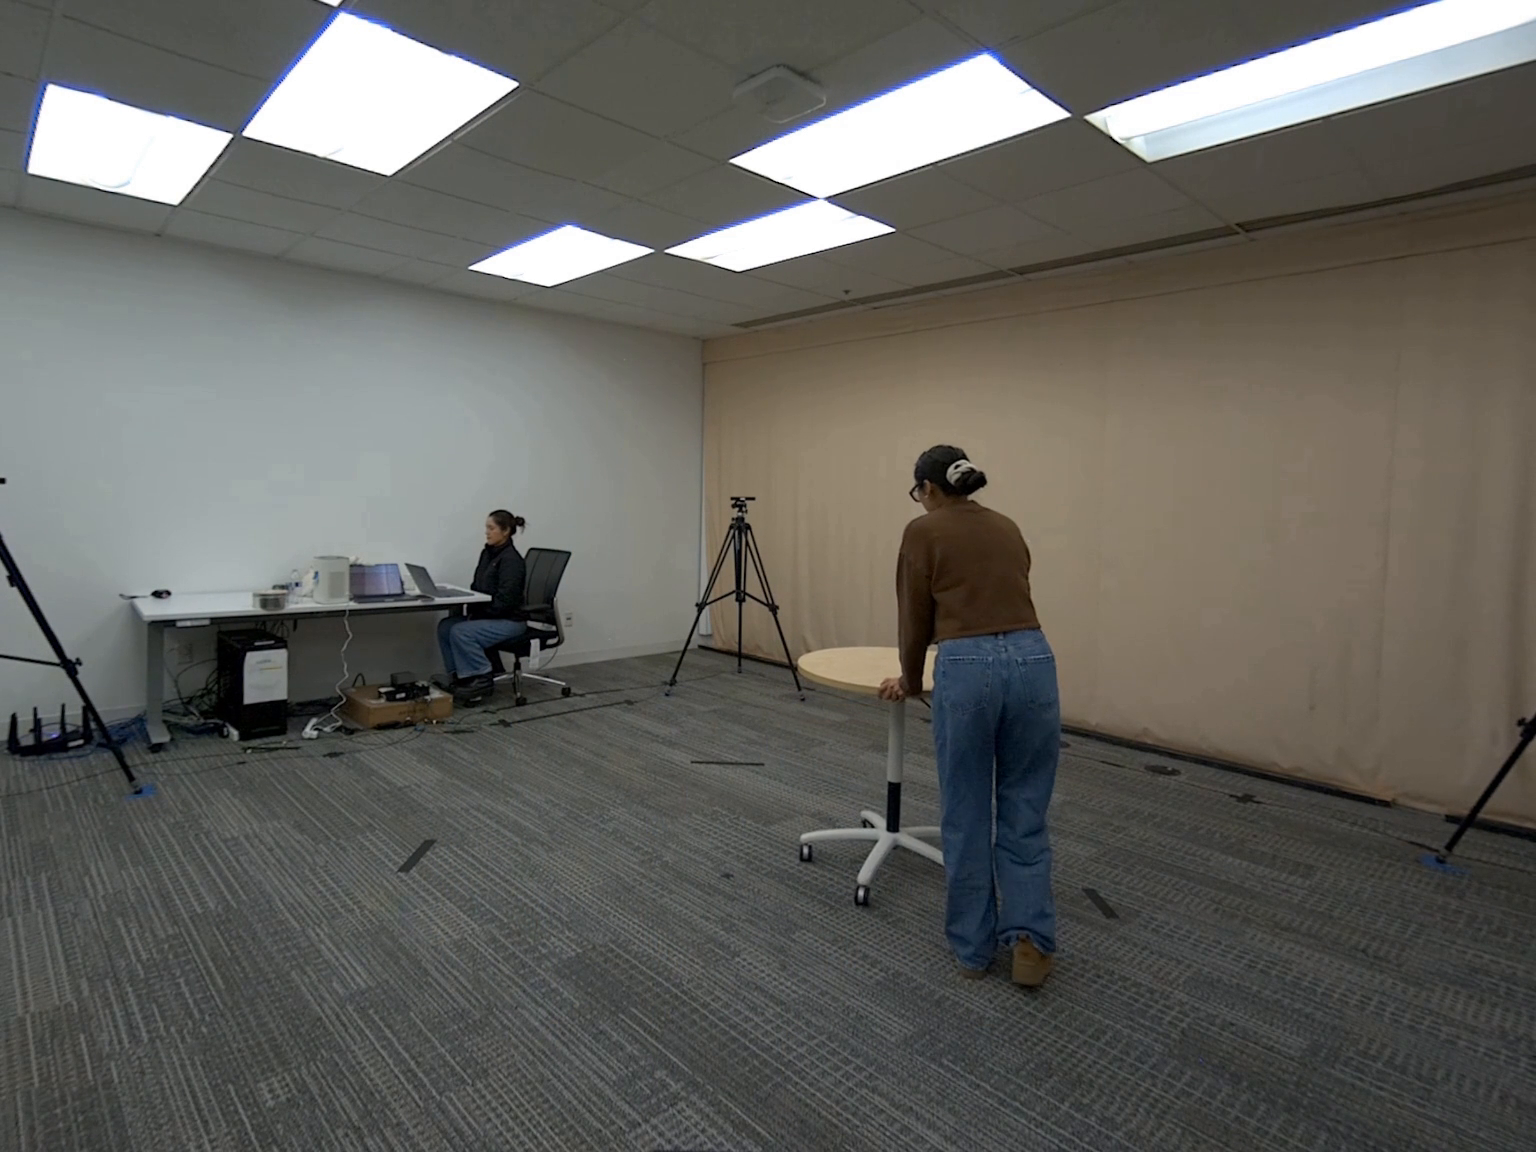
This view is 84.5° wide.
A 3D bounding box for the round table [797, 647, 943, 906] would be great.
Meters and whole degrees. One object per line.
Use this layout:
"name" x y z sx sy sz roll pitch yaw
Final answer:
"round table" 0.478 0.730 3.192 0.763 0.792 0.767 2 4 -1
